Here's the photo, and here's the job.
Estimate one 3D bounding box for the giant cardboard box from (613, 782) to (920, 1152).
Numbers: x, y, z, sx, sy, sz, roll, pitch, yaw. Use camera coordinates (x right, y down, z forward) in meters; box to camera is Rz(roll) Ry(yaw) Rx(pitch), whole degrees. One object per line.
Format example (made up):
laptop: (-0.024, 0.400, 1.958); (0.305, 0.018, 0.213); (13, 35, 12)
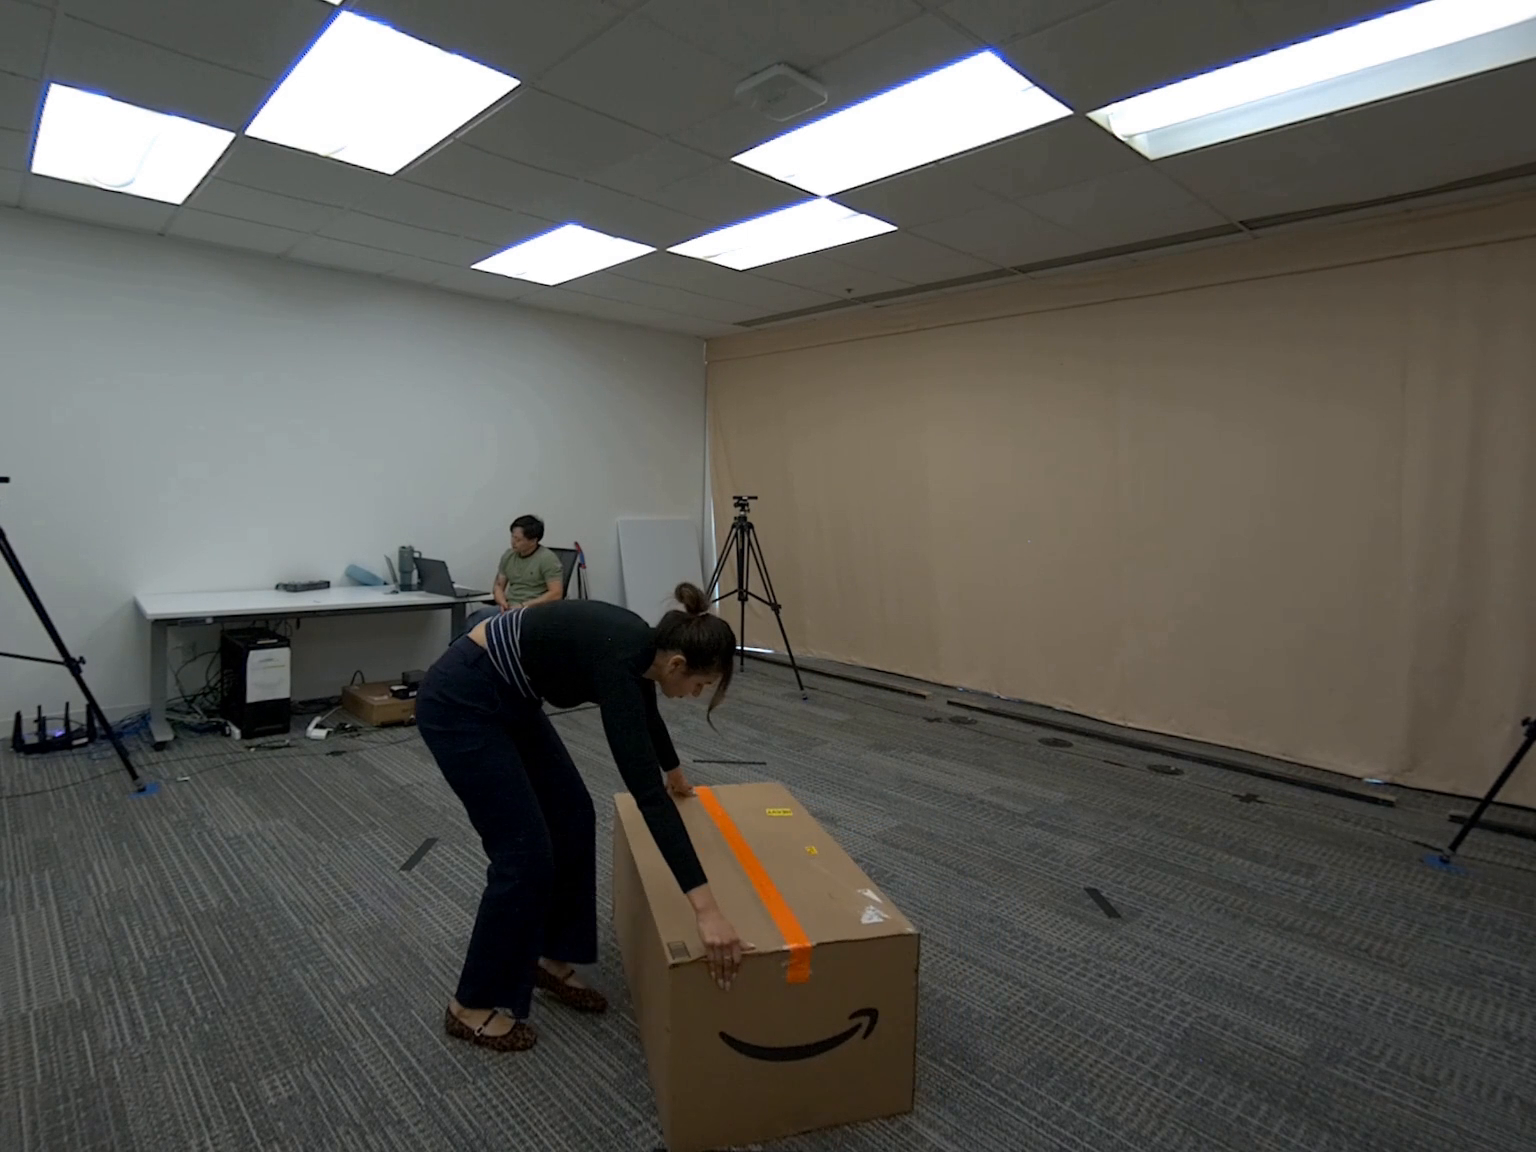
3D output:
giant cardboard box: (-0.087, 0.964, 2.327); (0.570, 0.425, 1.042); (0, 5, -16)
